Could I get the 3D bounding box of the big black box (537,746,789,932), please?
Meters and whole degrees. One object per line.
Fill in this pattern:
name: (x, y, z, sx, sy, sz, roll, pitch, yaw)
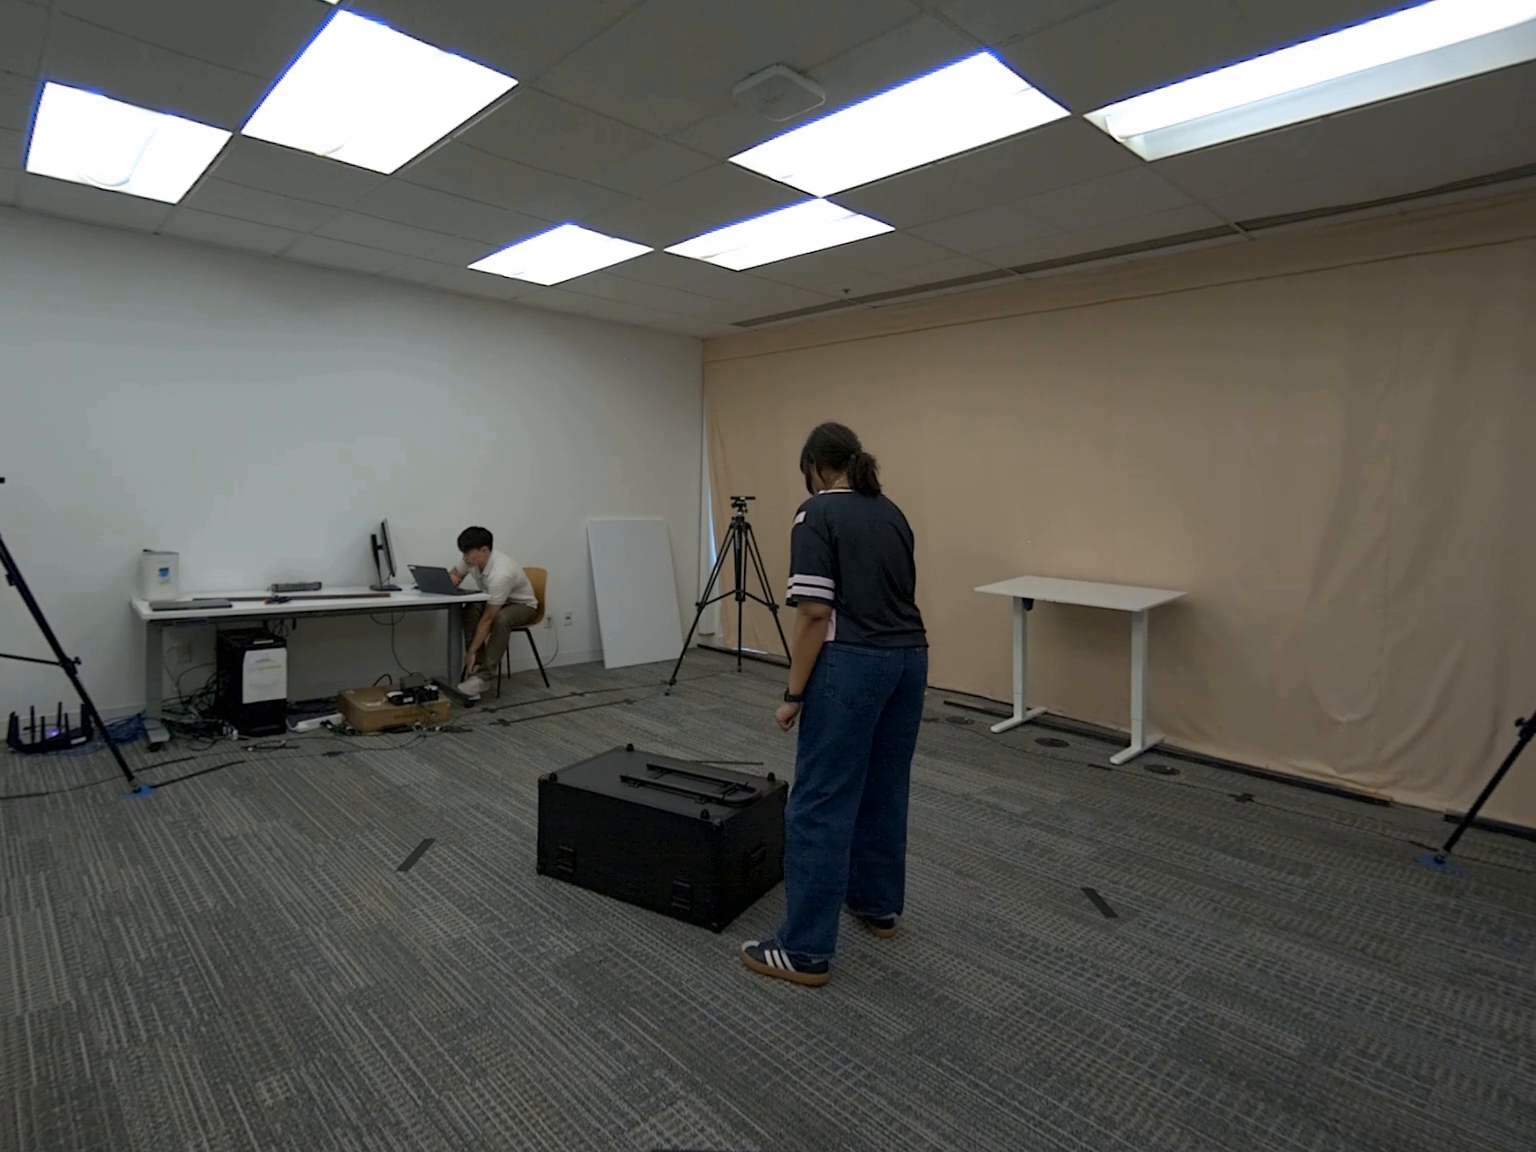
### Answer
big black box: (-0.425, 0.902, 3.092, 0.880, 0.395, 0.511, 3, 5, 29)
